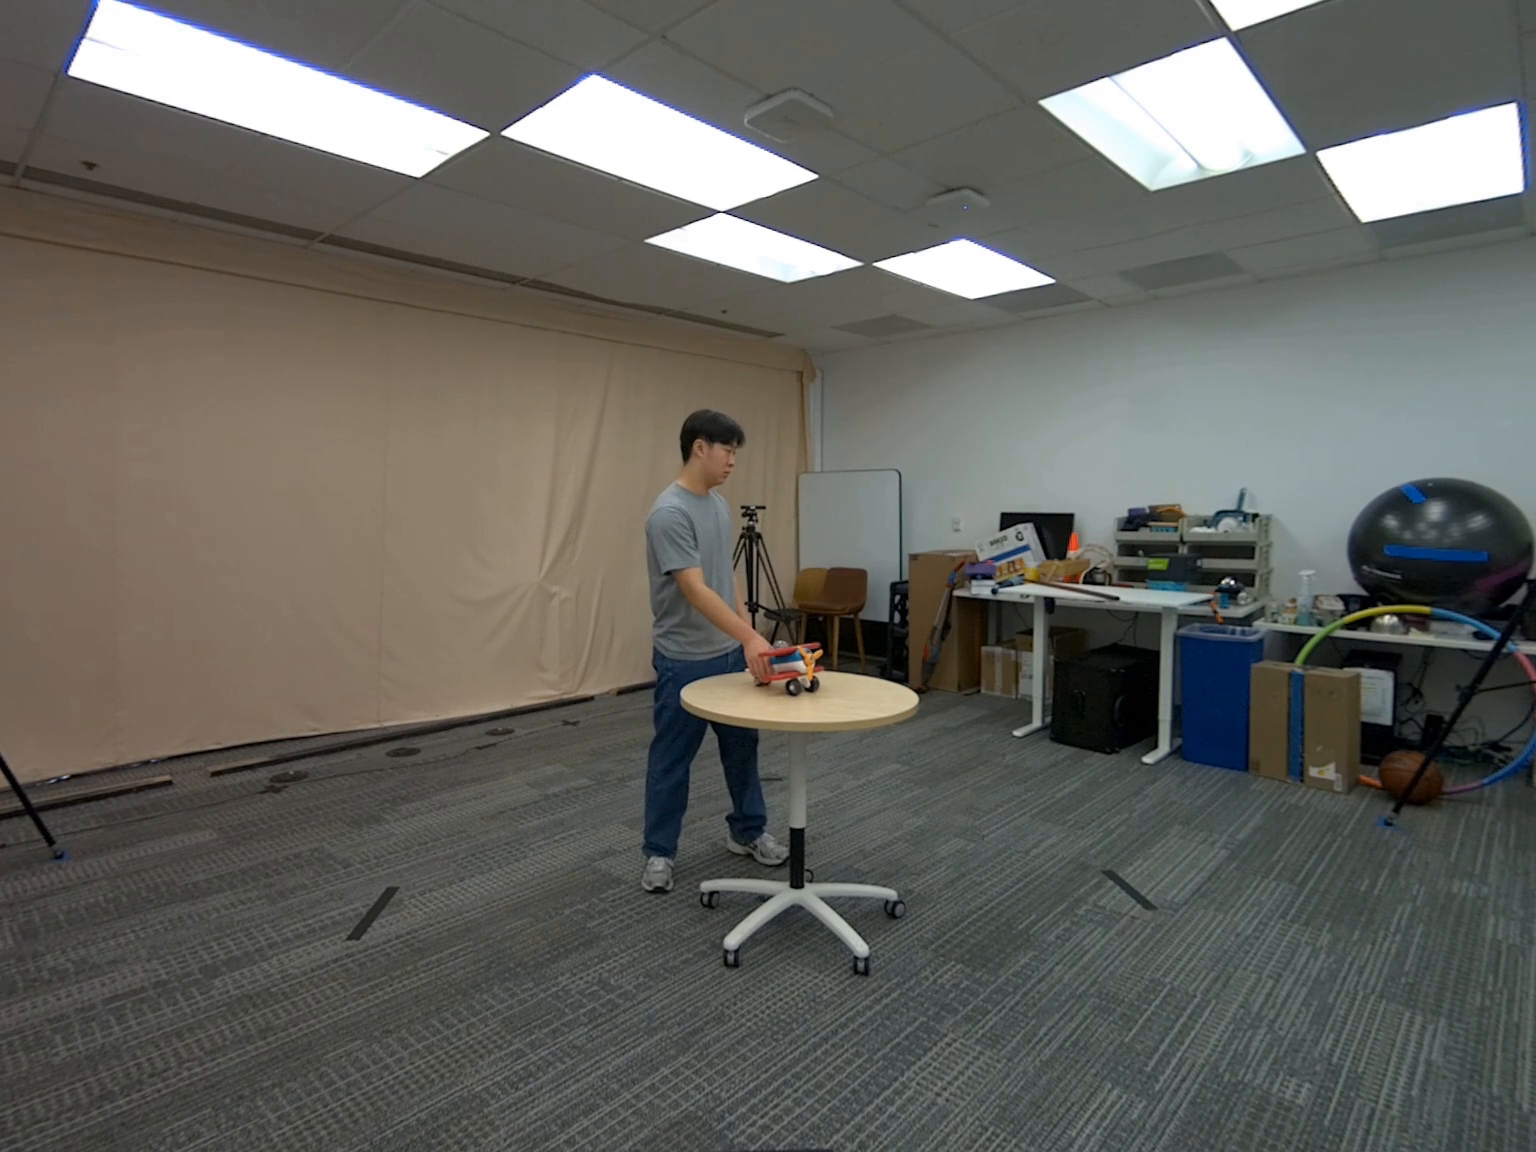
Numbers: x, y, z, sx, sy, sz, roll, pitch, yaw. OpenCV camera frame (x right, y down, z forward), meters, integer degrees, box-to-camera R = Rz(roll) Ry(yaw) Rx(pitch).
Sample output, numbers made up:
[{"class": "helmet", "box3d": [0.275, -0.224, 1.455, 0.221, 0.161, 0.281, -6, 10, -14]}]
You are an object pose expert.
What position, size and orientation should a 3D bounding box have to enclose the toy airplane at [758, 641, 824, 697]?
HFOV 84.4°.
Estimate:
[{"class": "toy airplane", "box3d": [0.051, 0.302, 2.767, 0.264, 0.156, 0.246, 3, 4, 18]}]
